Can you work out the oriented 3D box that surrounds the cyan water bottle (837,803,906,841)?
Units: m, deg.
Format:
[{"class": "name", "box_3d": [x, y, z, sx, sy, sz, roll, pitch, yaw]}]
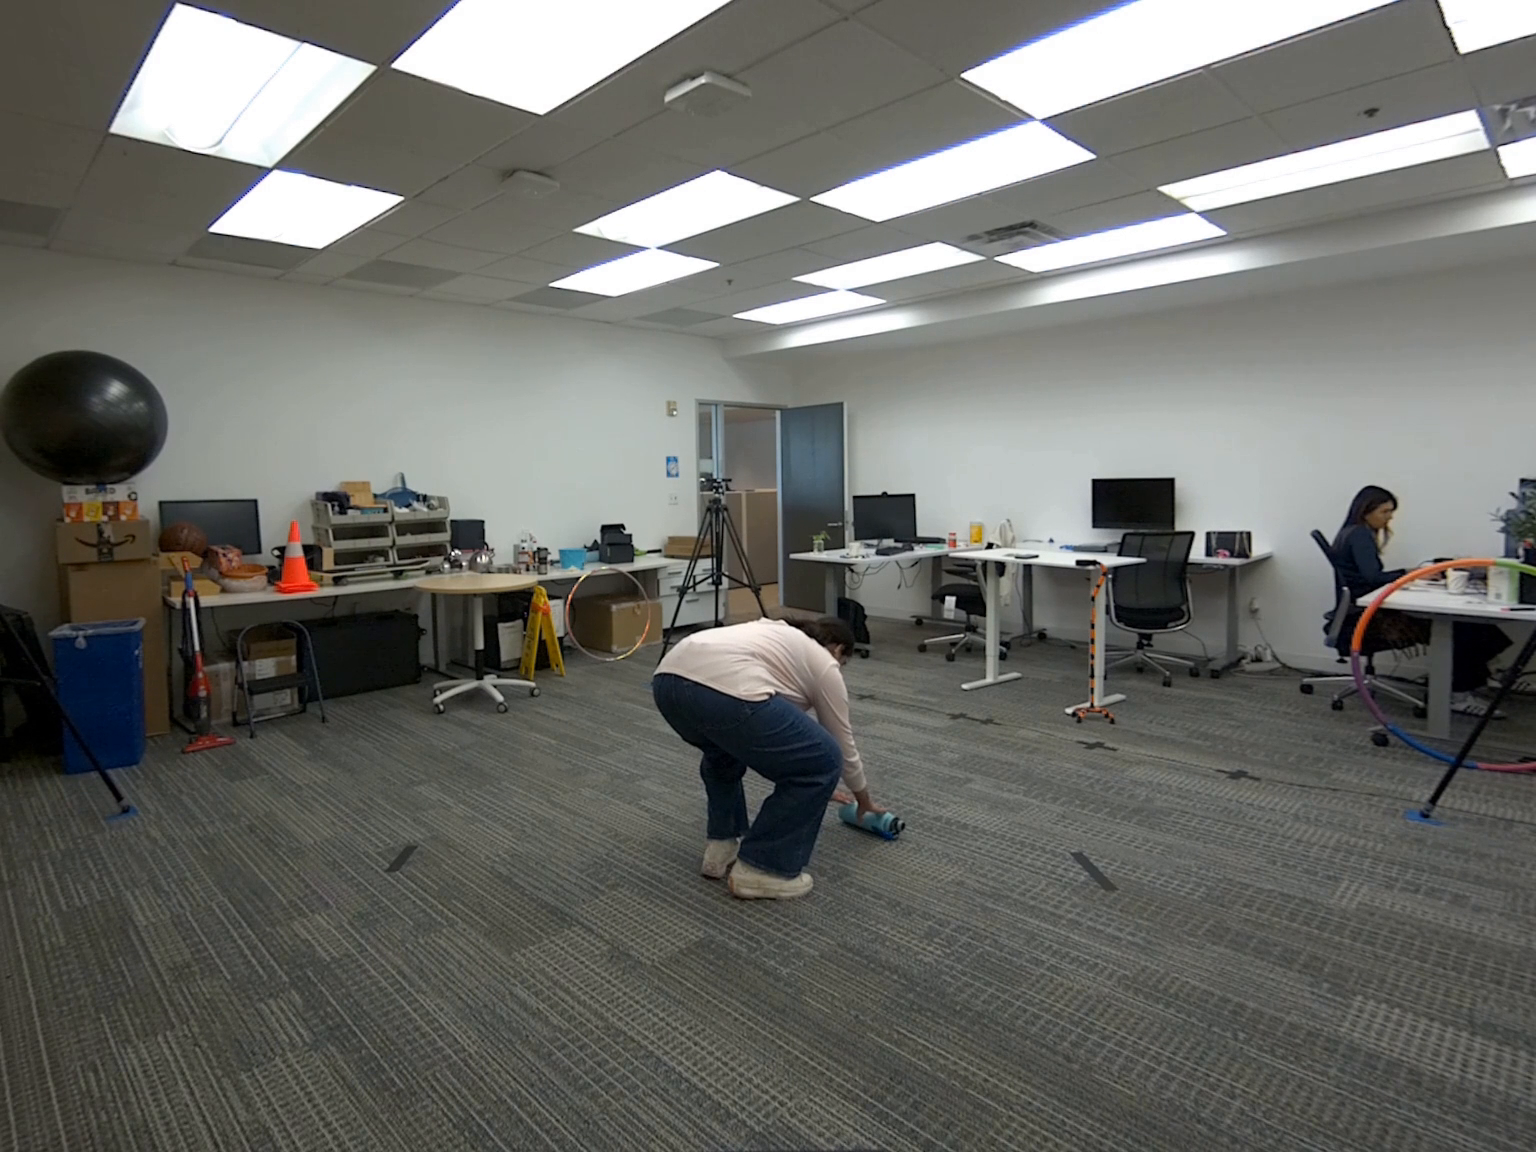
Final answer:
[{"class": "cyan water bottle", "box_3d": [0.406, 0.956, 3.377, 0.090, 0.092, 0.292, -5, 9, -41]}]
